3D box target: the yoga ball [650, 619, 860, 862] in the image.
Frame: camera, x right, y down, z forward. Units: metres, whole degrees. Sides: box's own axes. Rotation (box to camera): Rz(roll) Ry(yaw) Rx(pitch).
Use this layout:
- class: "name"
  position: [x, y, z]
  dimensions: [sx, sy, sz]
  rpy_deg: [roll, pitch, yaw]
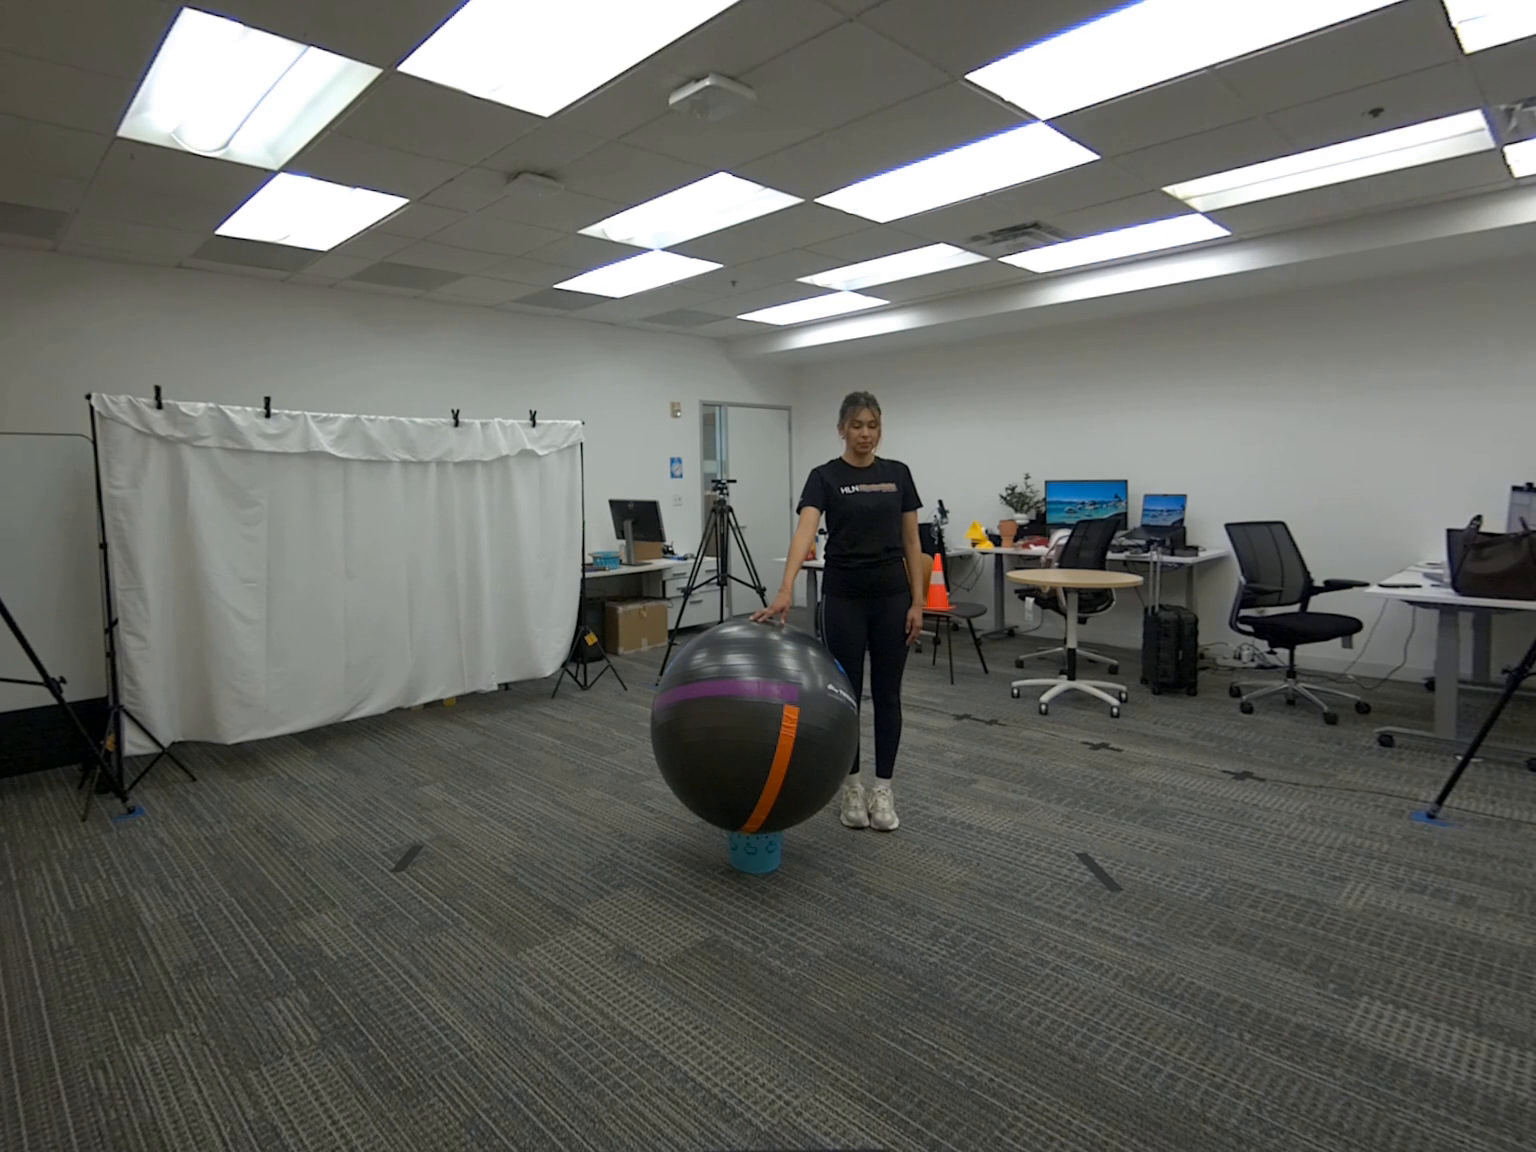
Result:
- class: "yoga ball"
  position: [-0.048, 0.544, 3.106]
  dimensions: [0.757, 0.755, 0.762]
  rpy_deg: [-1, 5, -2]
